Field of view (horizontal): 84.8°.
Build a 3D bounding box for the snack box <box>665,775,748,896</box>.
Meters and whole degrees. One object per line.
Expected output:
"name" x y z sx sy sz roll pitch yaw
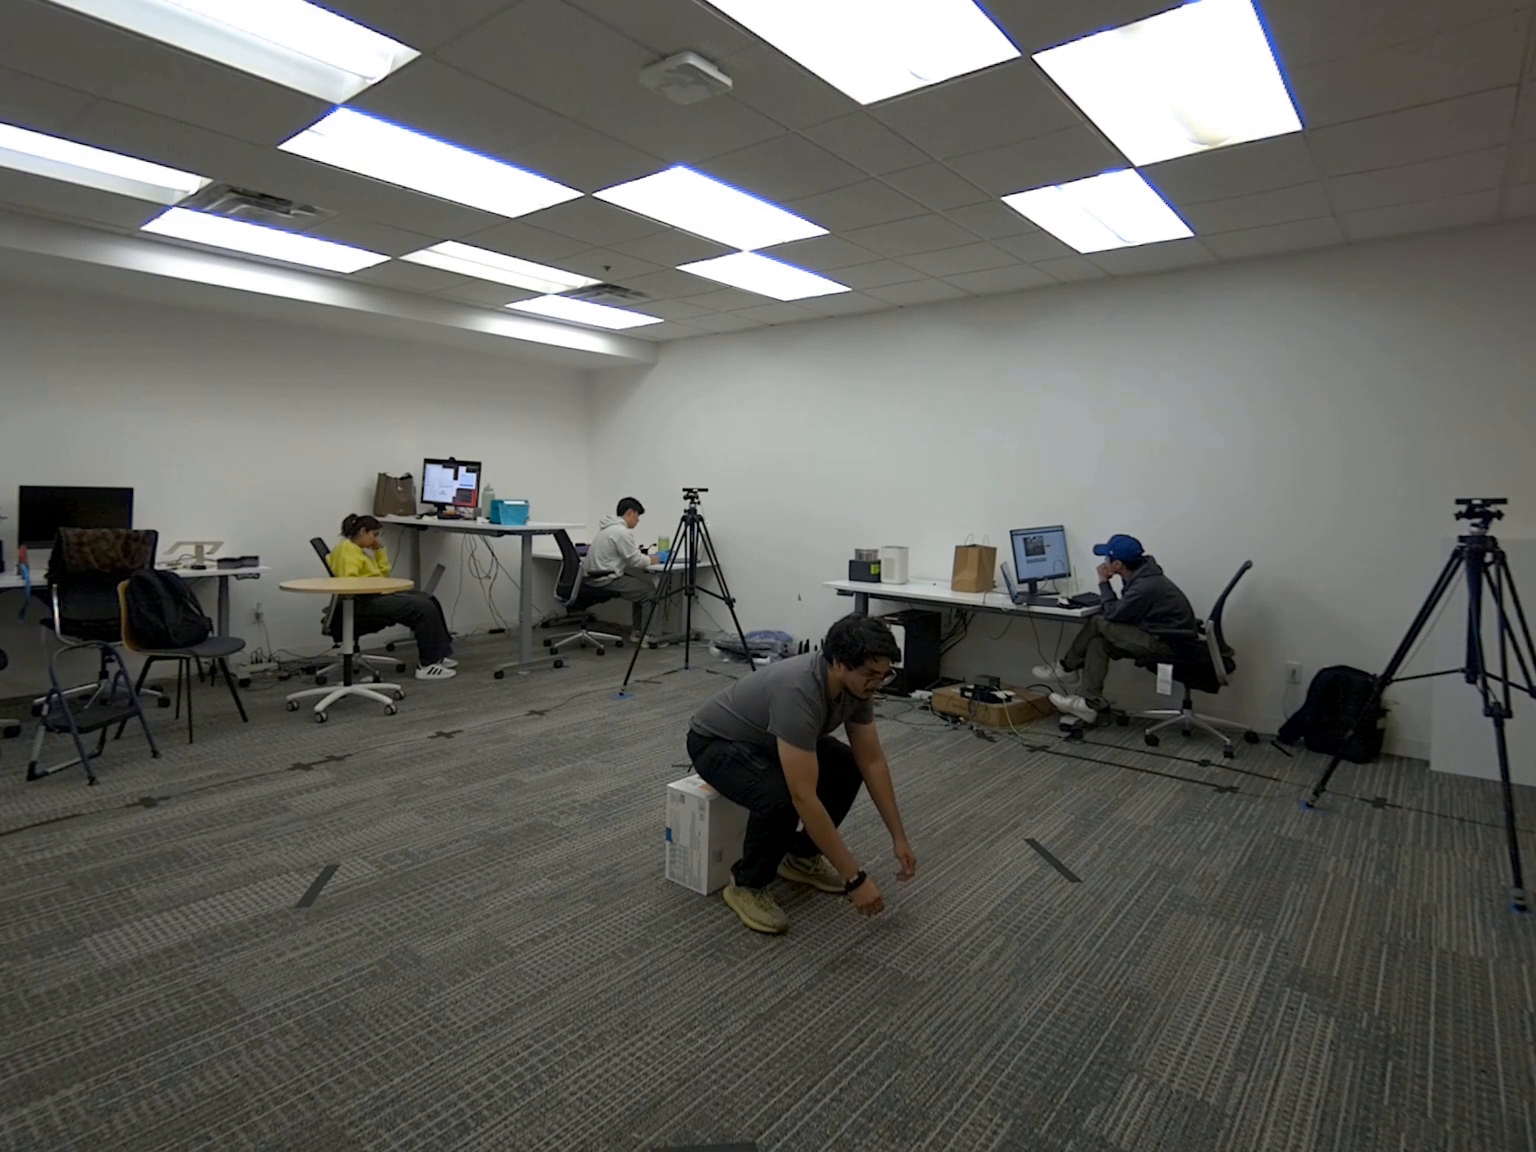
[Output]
"snack box" -0.172 0.900 3.106 0.212 0.339 0.393 4 5 38
